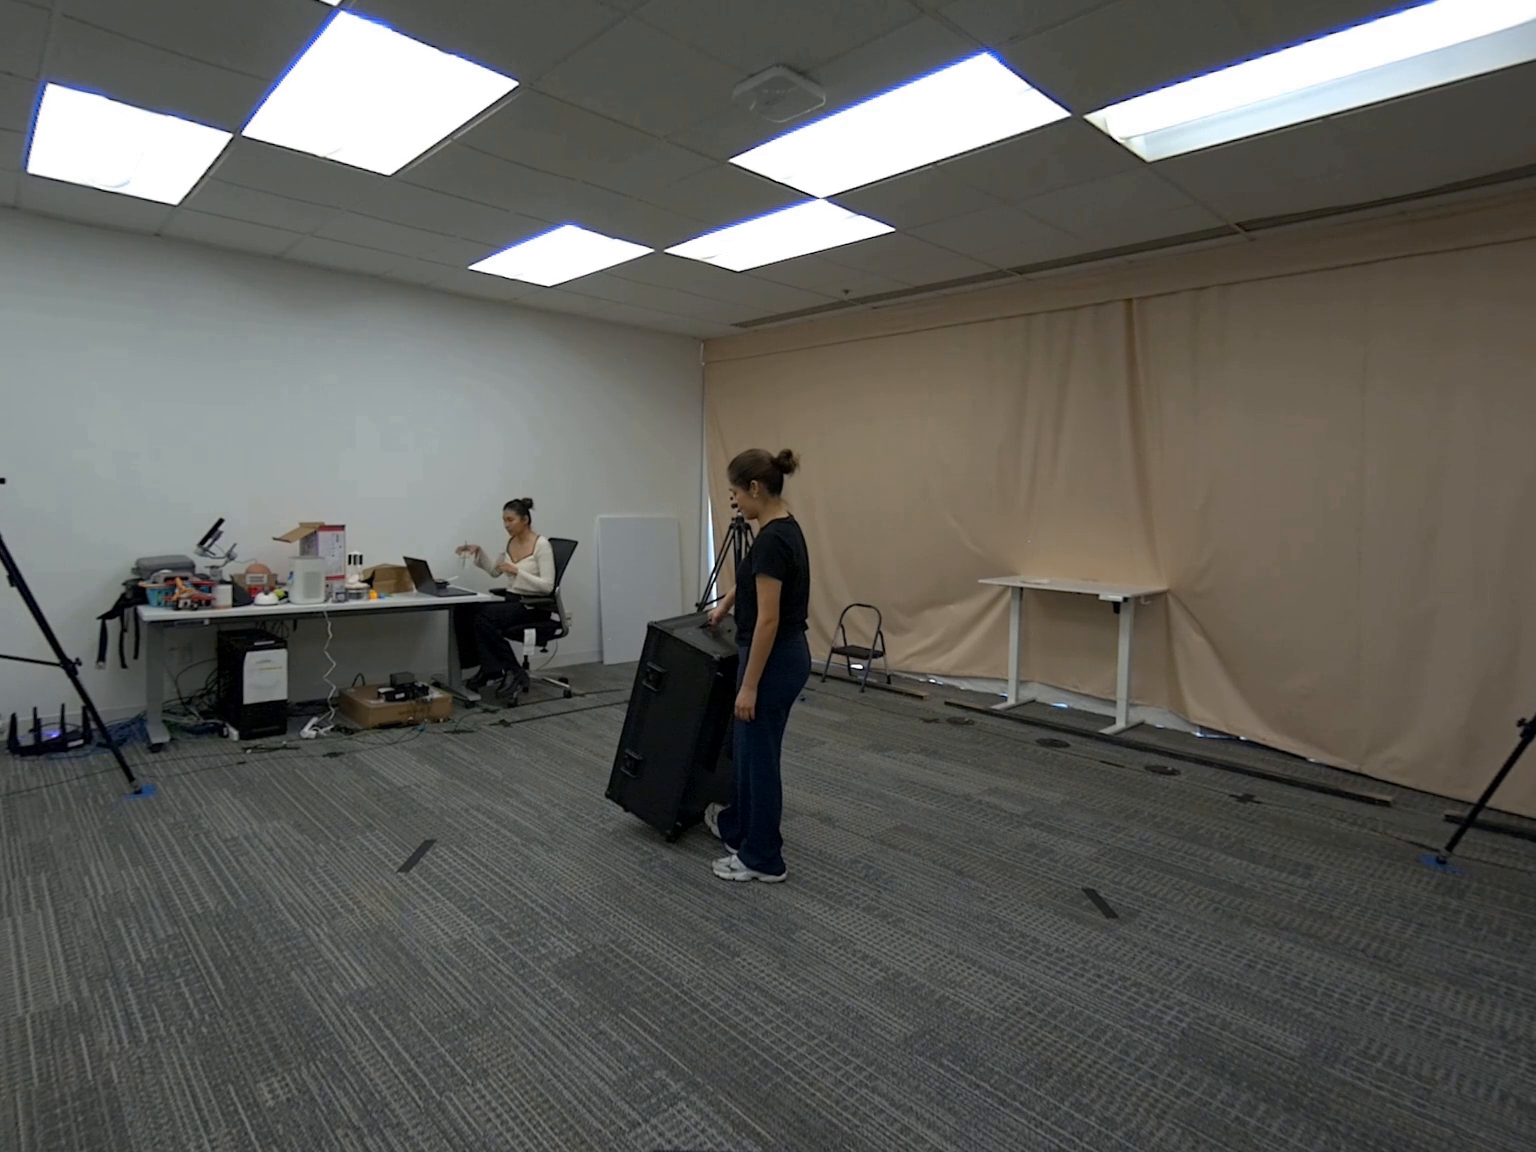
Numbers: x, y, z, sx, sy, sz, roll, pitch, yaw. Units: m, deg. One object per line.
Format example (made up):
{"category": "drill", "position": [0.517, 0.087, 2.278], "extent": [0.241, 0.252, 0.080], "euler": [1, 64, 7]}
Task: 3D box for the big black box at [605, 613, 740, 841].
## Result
{"category": "big black box", "position": [-0.308, 0.622, 3.485], "extent": [0.406, 0.855, 0.511], "euler": [24, 16, 27]}
